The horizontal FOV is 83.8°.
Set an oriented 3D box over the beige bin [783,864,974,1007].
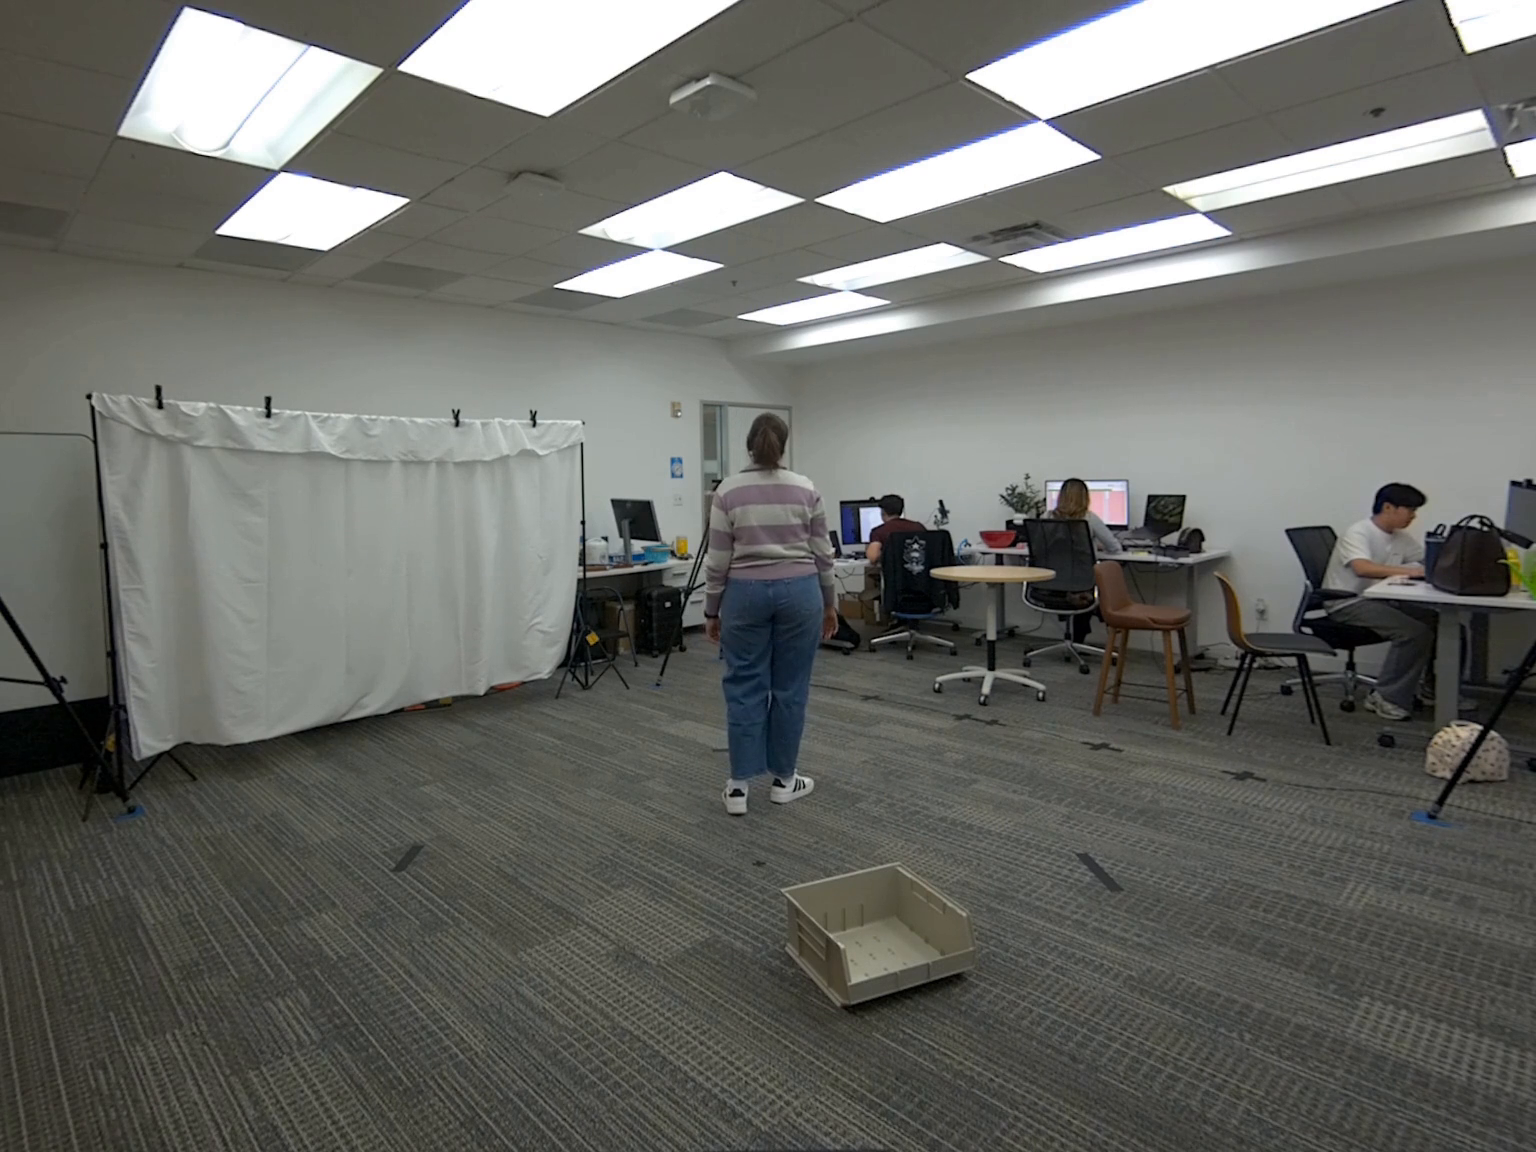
[{"bbox_3d":[0.313,1.031,2.451,0.414,0.188,0.386,-4,6,-25],"label":"beige bin"}]
